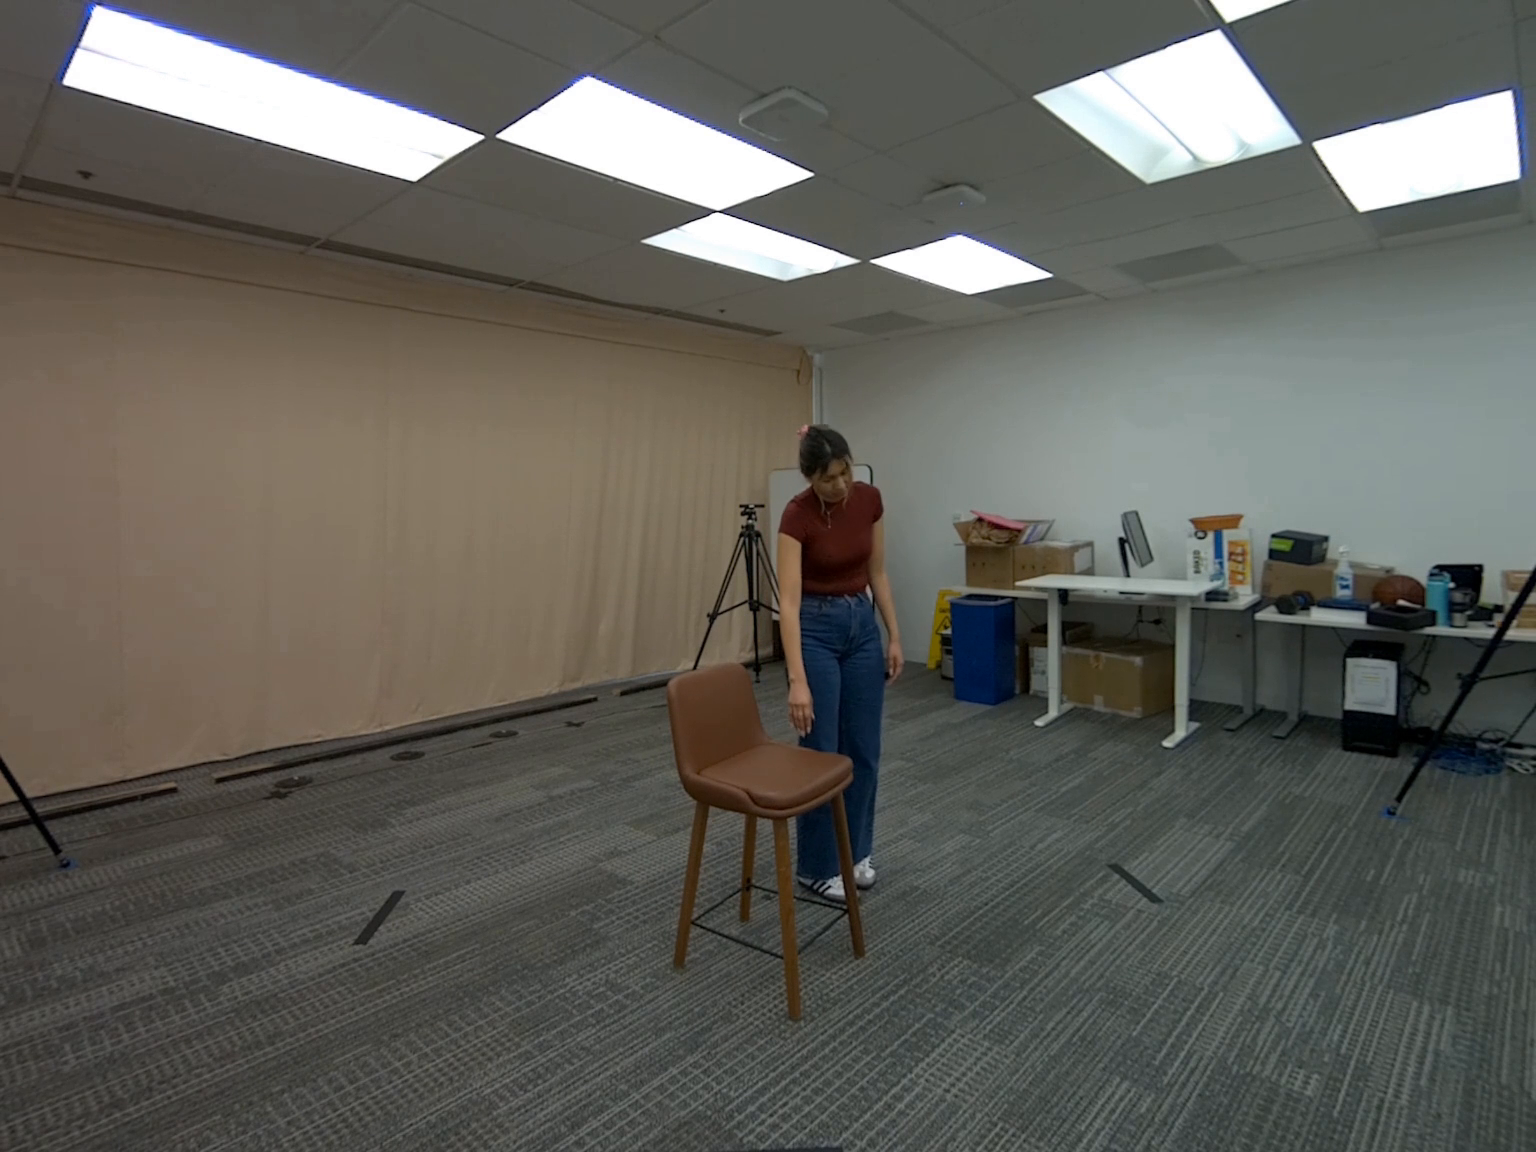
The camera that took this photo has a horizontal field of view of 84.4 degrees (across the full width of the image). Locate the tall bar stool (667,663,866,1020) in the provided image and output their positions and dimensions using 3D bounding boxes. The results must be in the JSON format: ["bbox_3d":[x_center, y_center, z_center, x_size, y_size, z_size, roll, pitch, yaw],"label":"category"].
[{"bbox_3d":[-0.009,0.747,2.538,0.482,0.888,0.443,0,3,35],"label":"tall bar stool"}]
